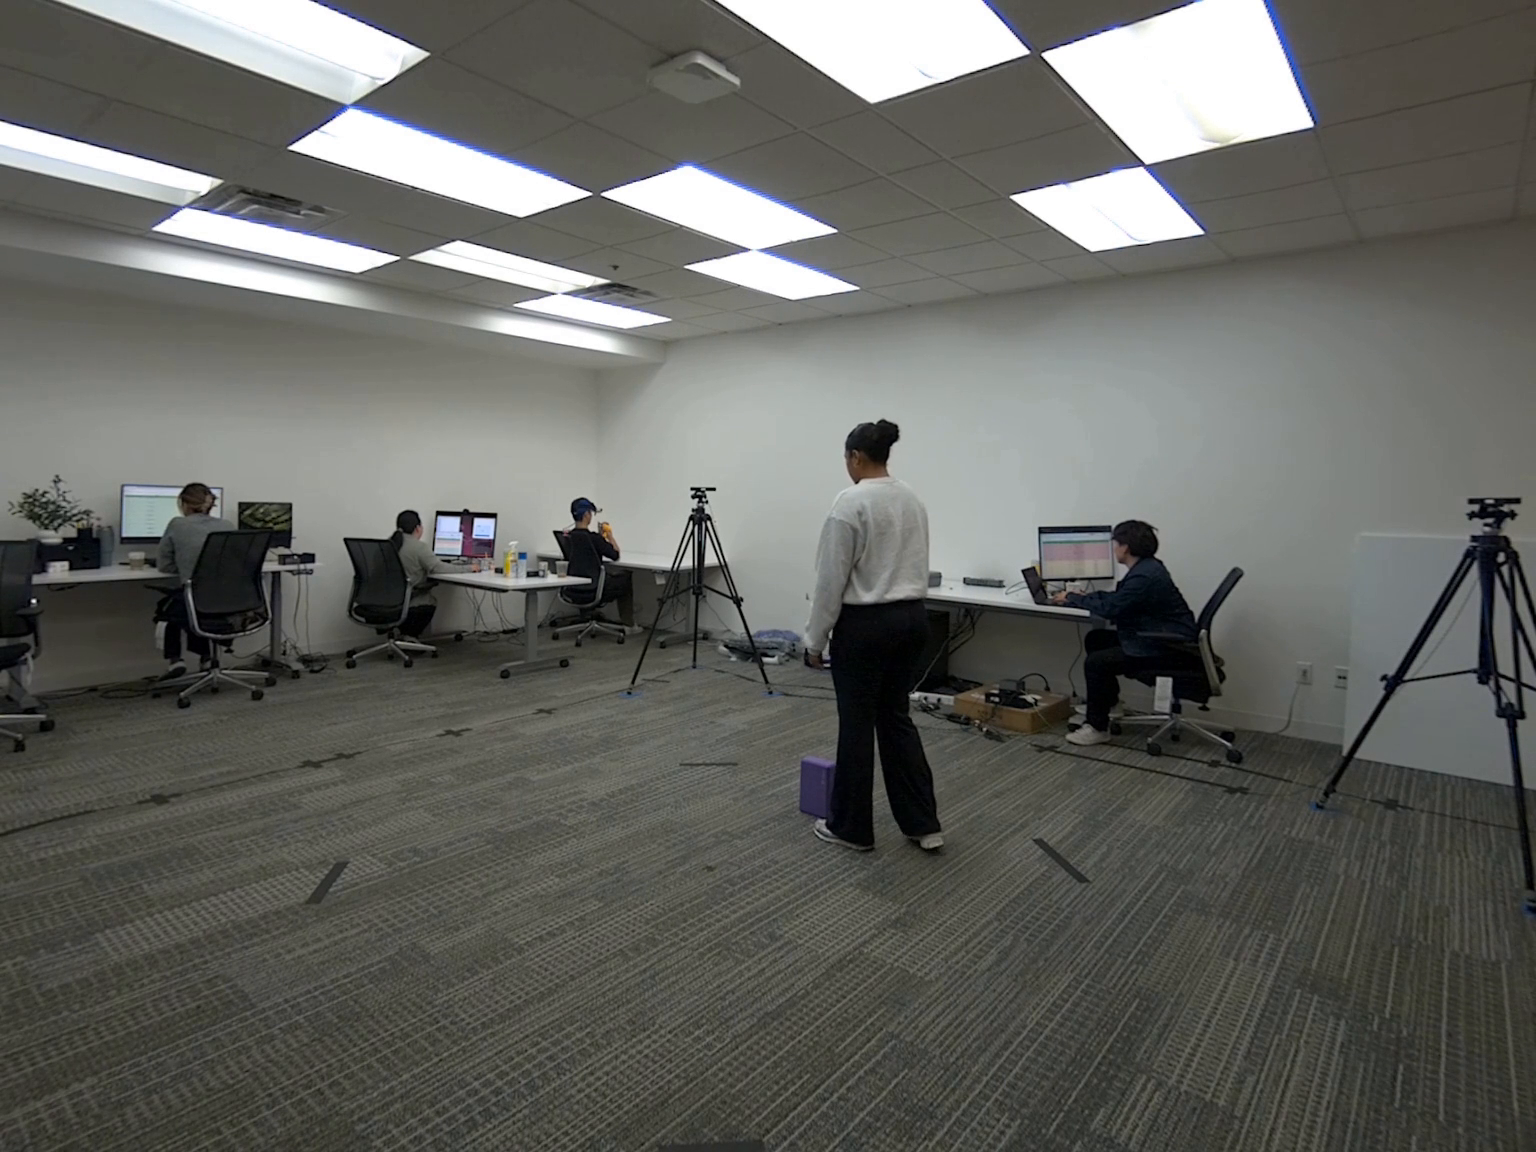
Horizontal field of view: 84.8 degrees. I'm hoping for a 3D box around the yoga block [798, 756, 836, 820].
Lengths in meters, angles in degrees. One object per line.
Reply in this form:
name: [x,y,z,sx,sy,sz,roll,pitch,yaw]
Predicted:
yoga block: [0.205,0.900,3.657,0.154,0.229,0.074,3,4,40]
